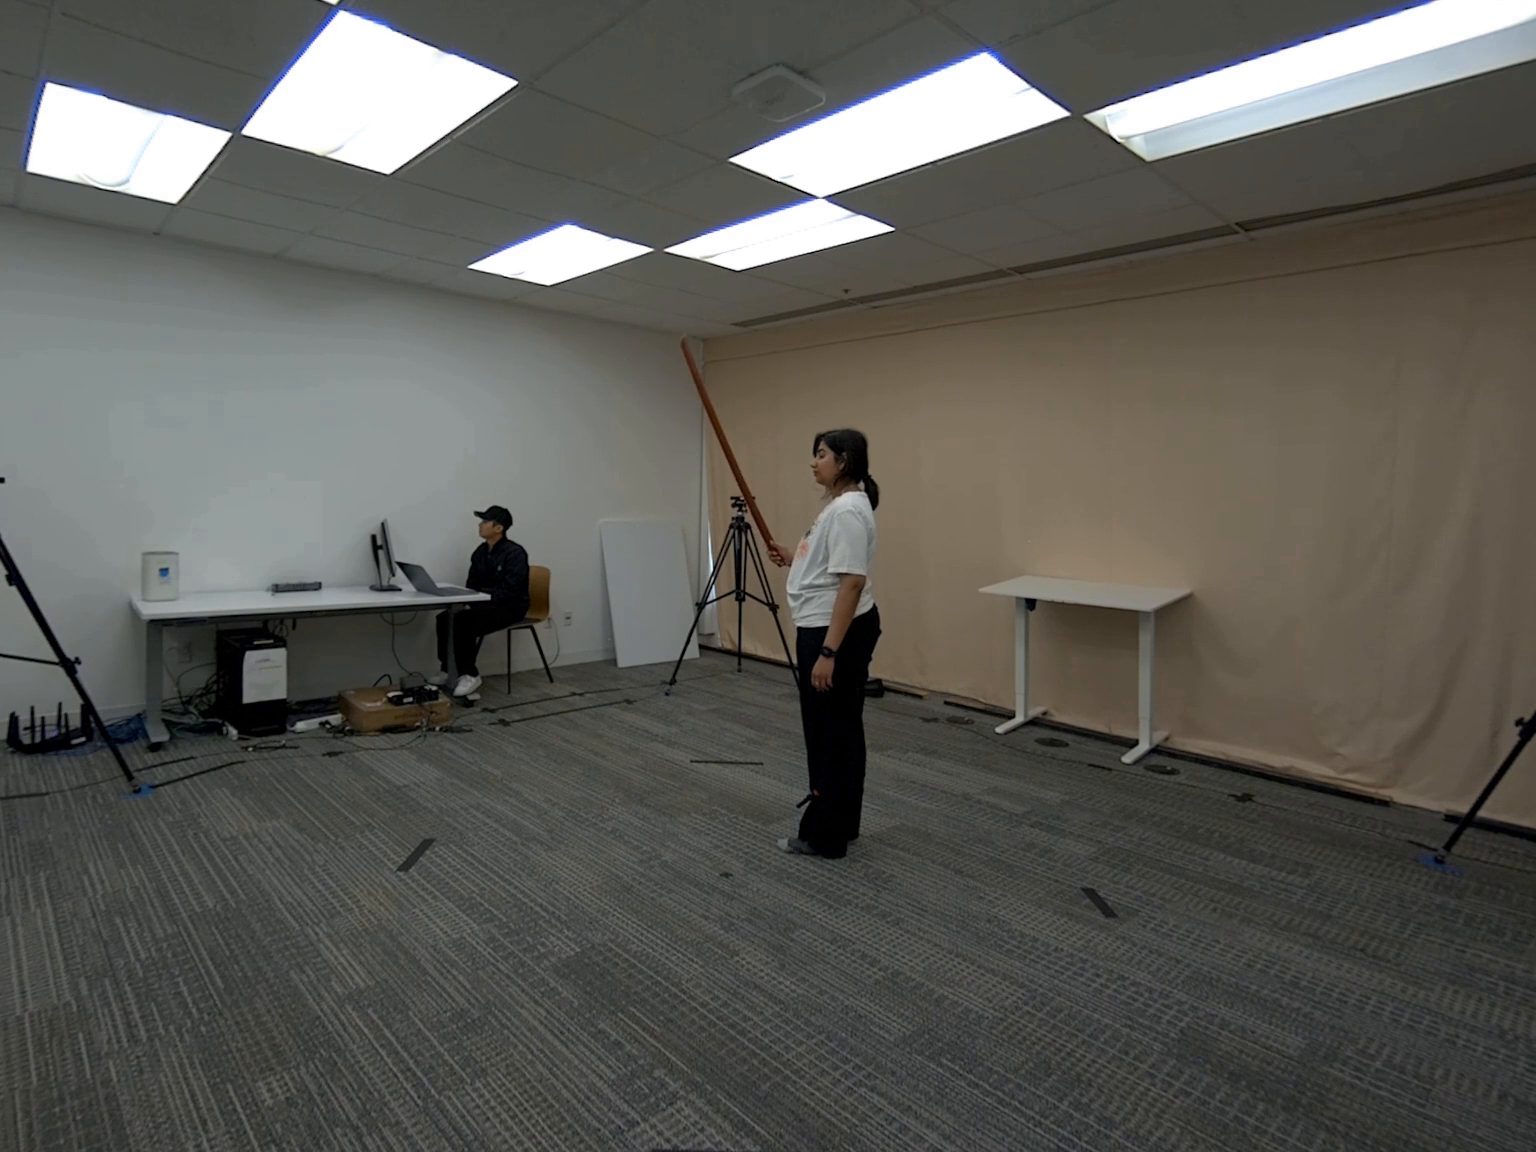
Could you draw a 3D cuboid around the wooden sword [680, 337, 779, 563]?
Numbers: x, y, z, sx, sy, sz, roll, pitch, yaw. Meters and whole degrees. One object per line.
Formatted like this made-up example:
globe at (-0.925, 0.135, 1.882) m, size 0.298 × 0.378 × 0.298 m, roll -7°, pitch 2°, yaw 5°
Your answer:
wooden sword at (-0.163, -0.487, 3.459) m, size 0.024 × 1.019 × 0.052 m, roll -27°, pitch 7°, yaw -39°
